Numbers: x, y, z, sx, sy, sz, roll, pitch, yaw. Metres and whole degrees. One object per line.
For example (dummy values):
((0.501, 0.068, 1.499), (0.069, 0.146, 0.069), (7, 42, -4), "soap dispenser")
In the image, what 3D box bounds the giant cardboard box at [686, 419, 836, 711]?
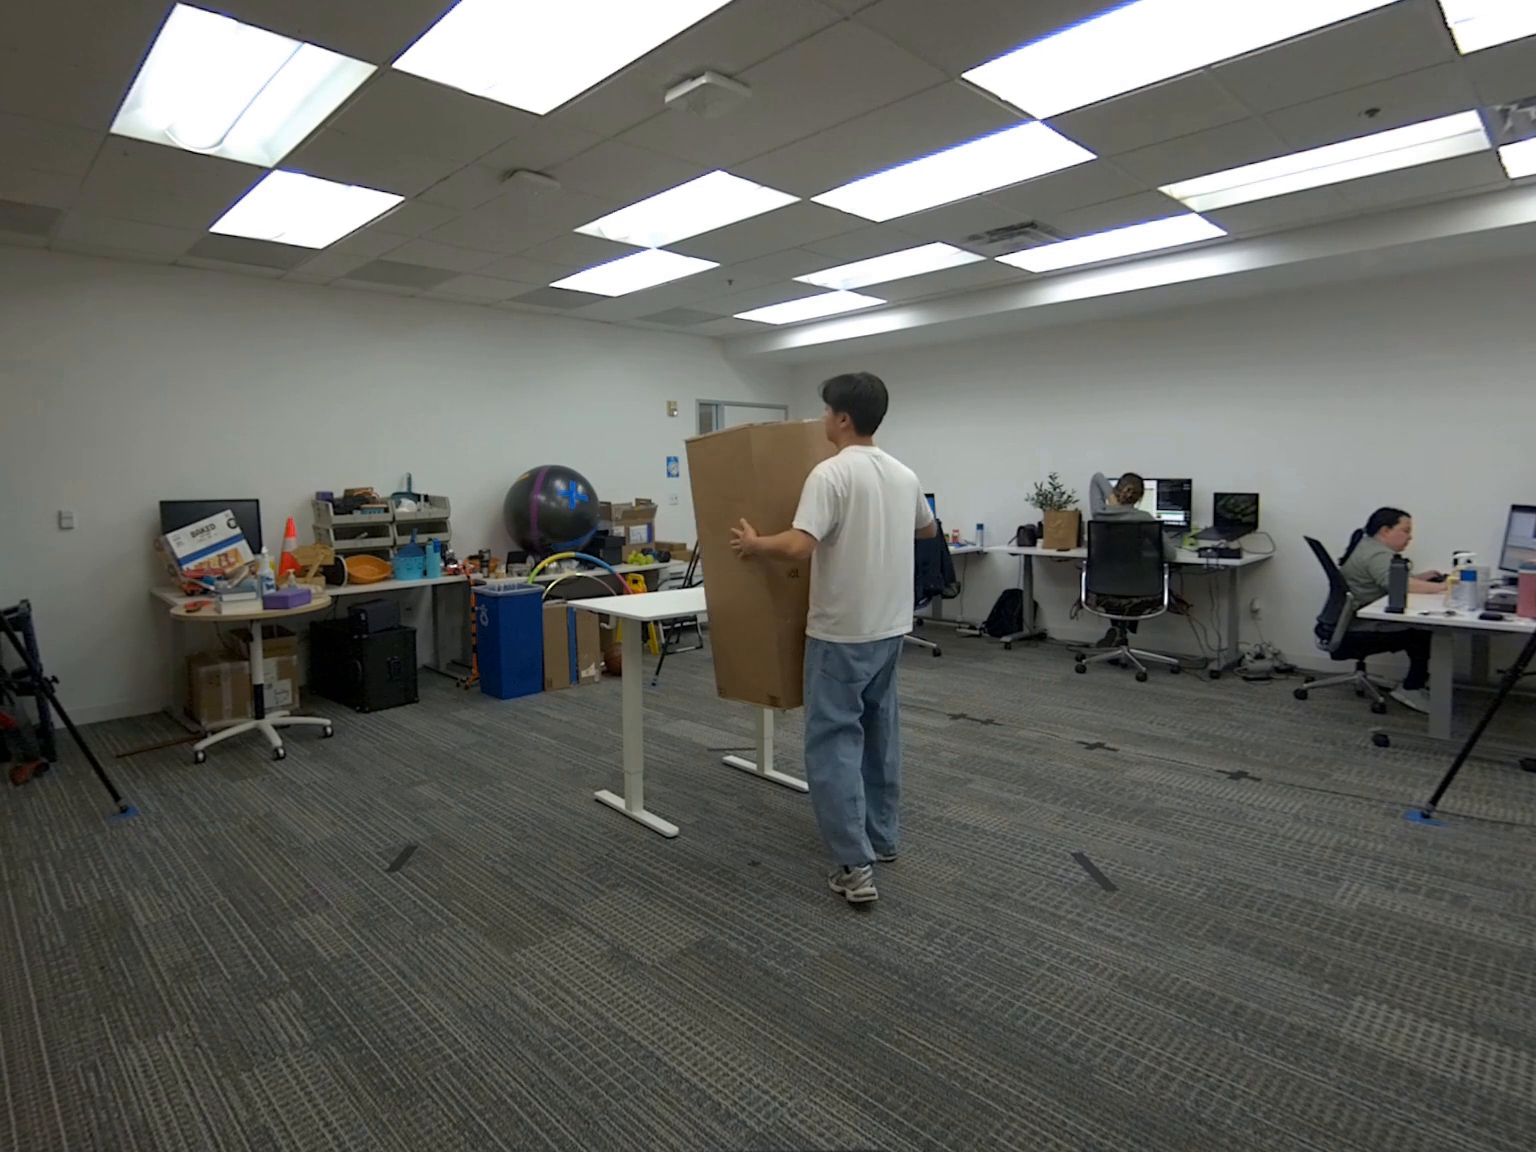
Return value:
((0.088, -0.066, 3.311), (0.564, 1.023, 0.437), (-9, 4, -35), "giant cardboard box")
